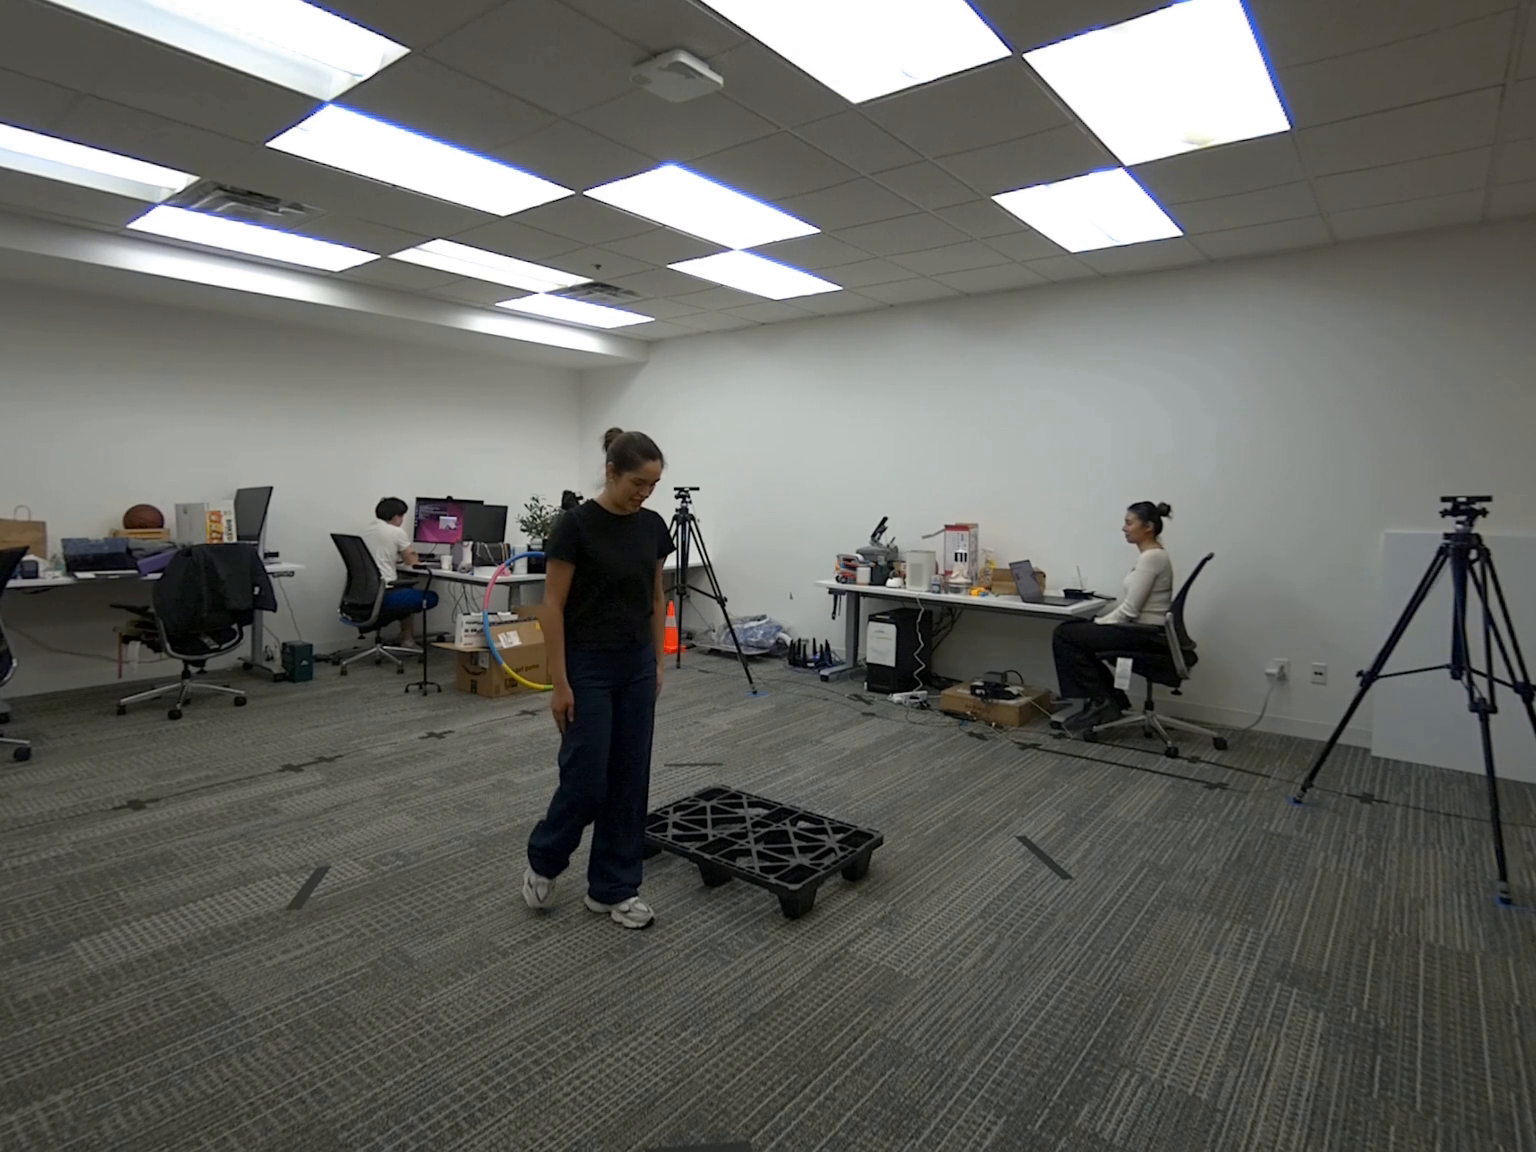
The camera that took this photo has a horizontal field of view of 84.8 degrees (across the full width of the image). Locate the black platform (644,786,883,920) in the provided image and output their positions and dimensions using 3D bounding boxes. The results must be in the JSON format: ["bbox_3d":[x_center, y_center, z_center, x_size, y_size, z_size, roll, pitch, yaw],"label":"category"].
[{"bbox_3d":[-0.050,0.998,3.166,0.833,0.143,0.587,6,7,38],"label":"black platform"}]
